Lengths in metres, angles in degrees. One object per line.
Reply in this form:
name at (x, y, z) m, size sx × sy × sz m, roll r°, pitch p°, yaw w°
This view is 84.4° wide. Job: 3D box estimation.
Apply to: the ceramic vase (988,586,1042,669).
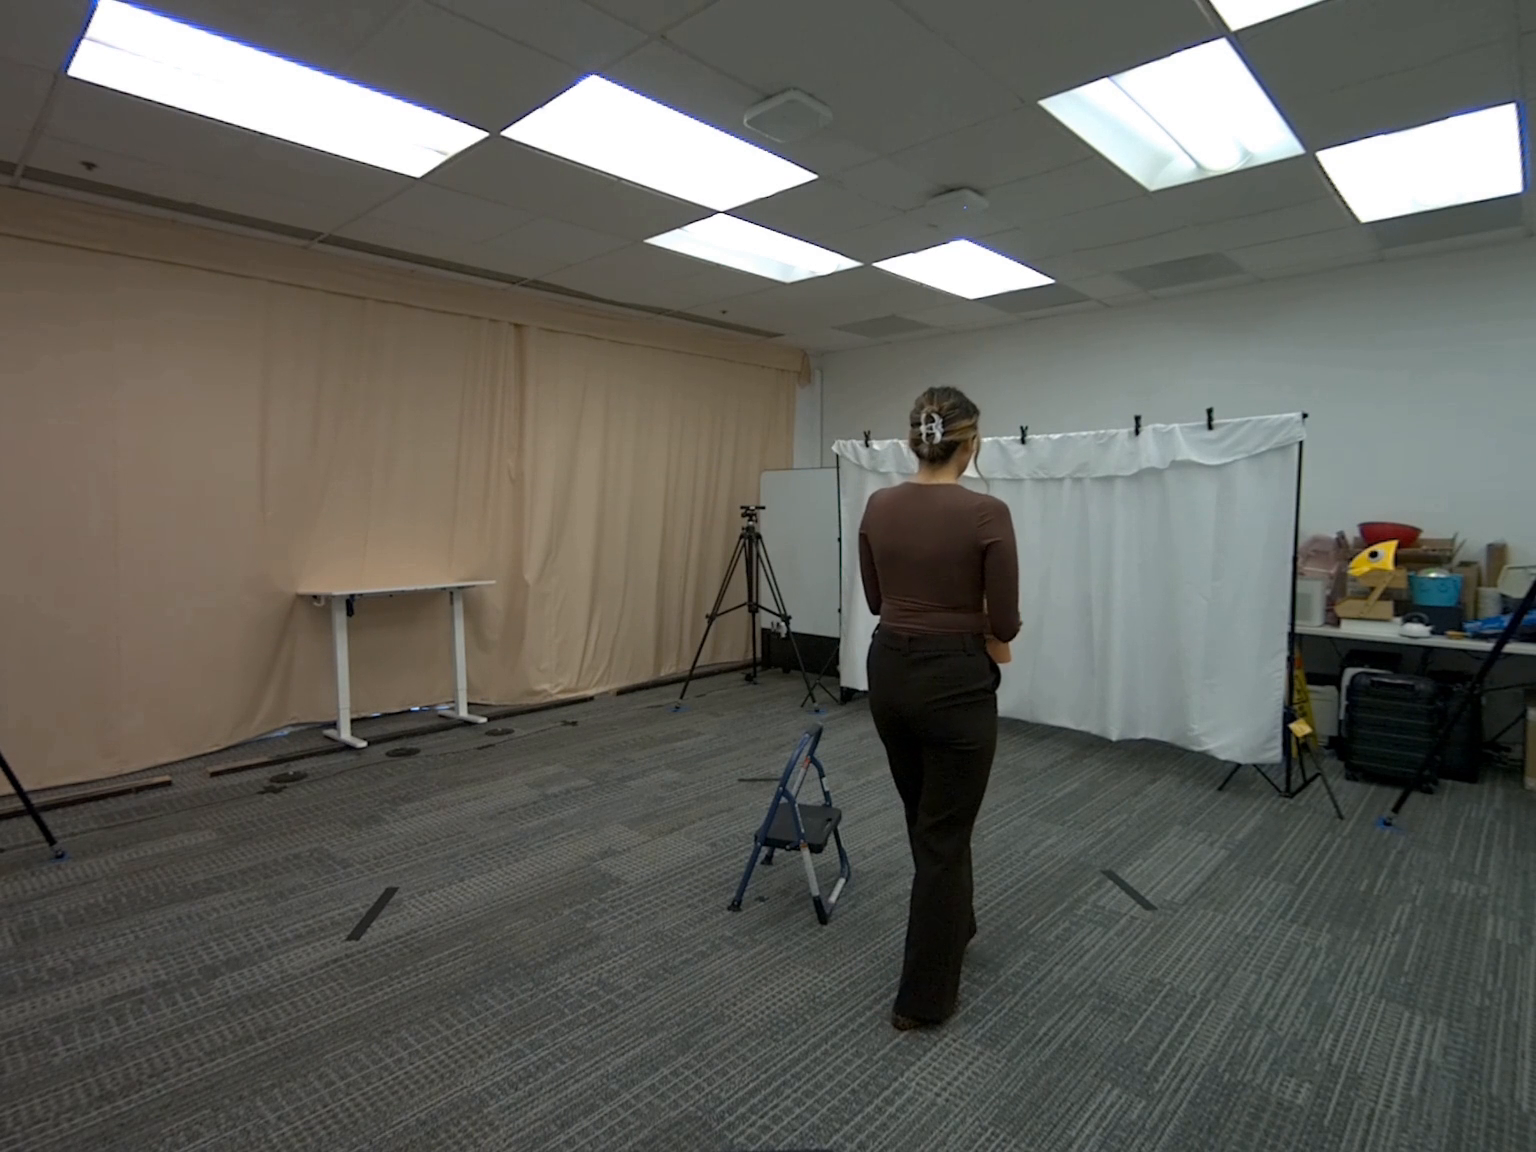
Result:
ceramic vase at (0.705, 0.148, 2.530) m, size 0.156 × 0.219 × 0.137 m, roll -2°, pitch 4°, yaw -17°
